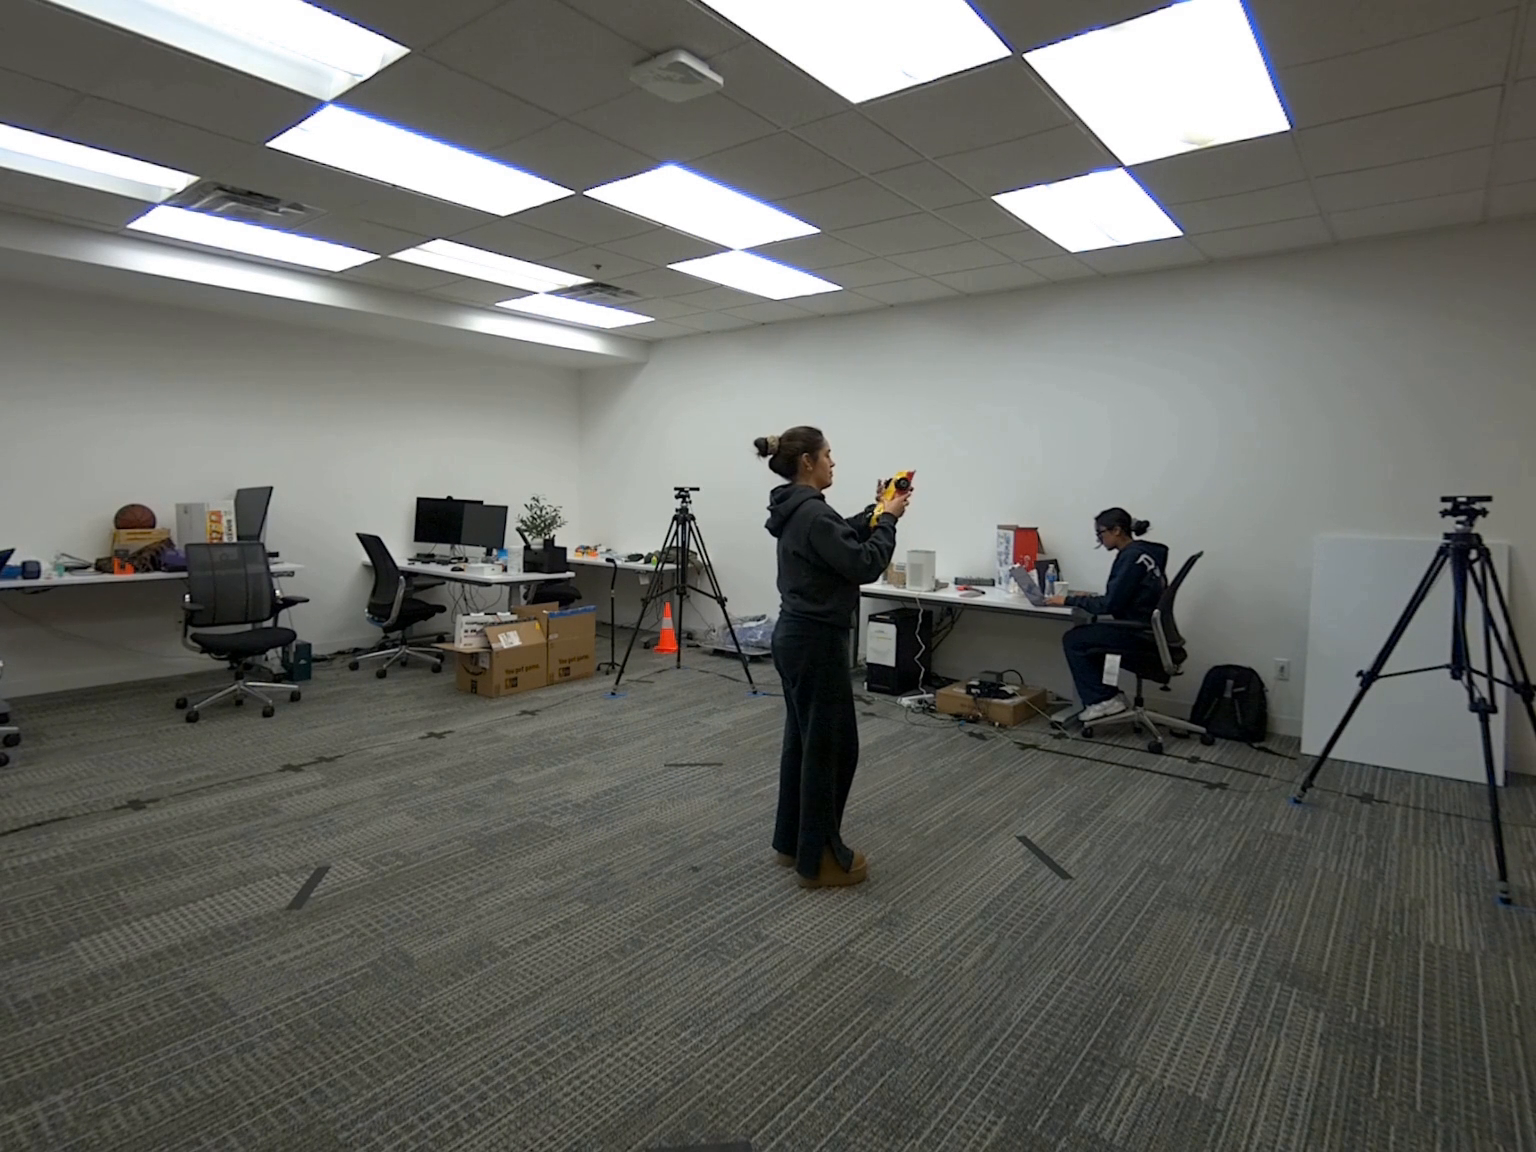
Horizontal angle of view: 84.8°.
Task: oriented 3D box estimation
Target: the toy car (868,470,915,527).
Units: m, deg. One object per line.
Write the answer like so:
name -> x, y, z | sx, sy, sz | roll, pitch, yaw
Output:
toy car -> 0.445, -0.289, 3.067 | 0.082, 0.255, 0.132 | 39, -9, -12
